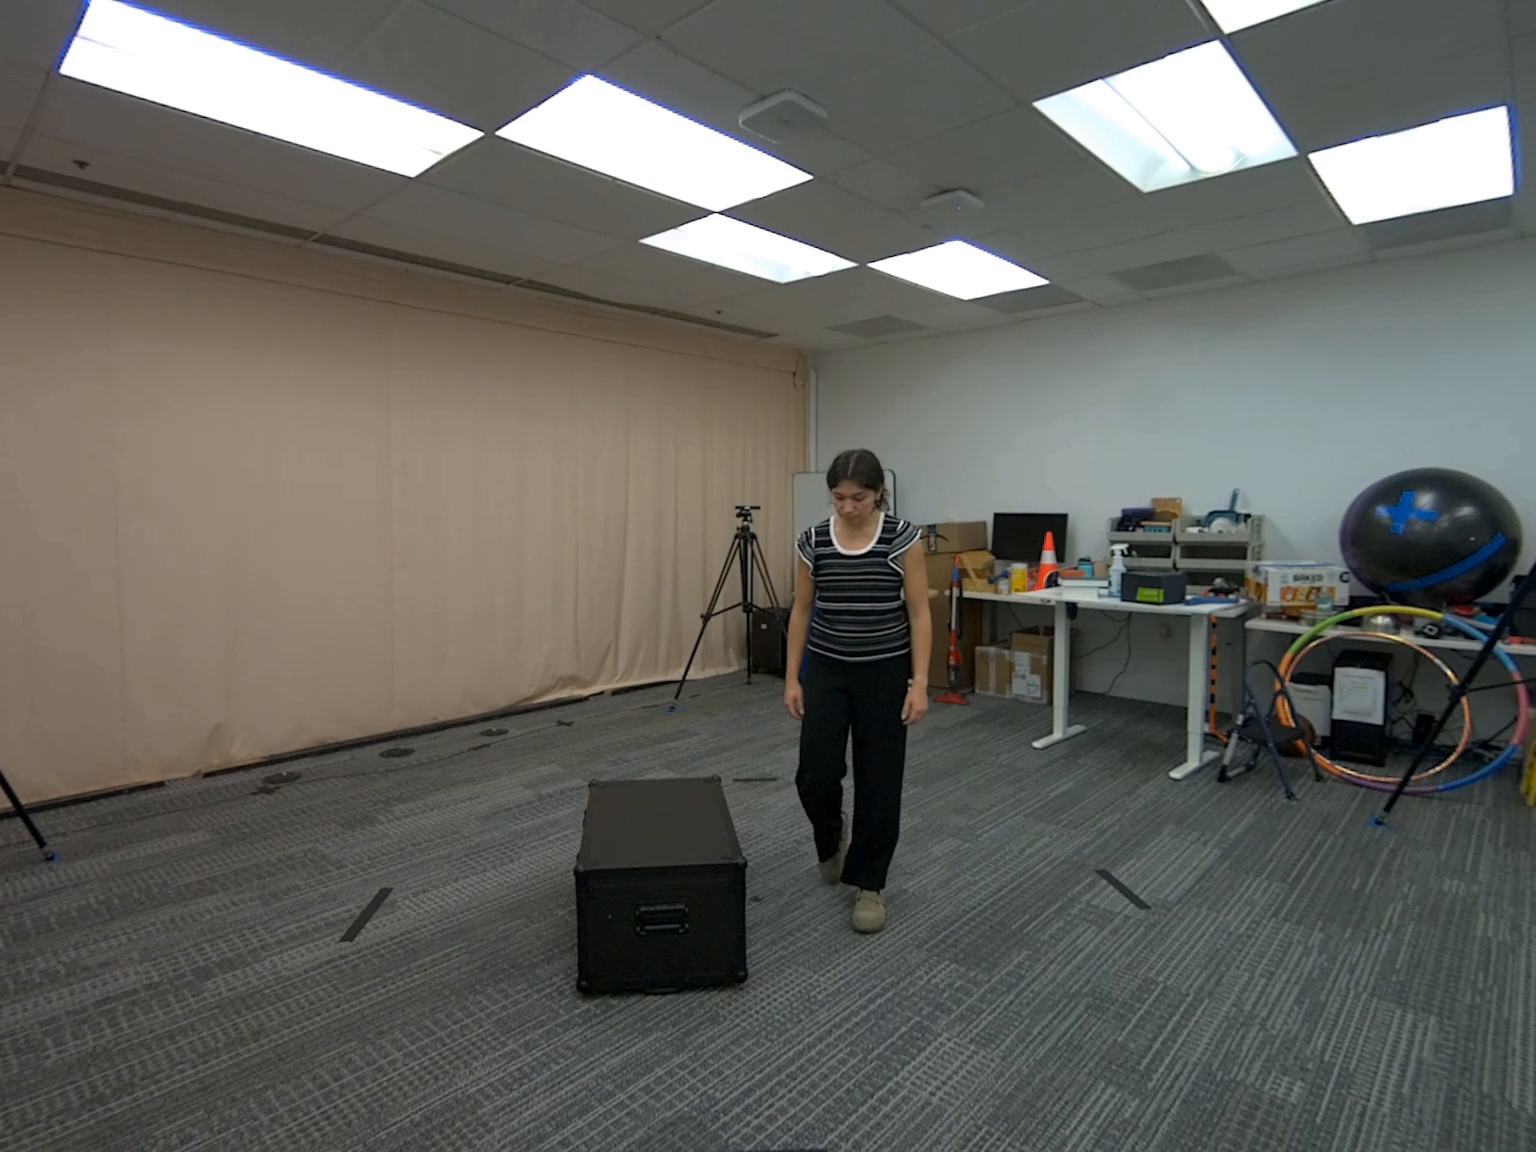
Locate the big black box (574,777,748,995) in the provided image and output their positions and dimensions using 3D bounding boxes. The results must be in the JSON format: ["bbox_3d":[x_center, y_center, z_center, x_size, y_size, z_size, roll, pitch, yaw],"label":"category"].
[{"bbox_3d":[-0.359,0.968,2.802,0.517,0.395,0.870,0,5,-8],"label":"big black box"}]
